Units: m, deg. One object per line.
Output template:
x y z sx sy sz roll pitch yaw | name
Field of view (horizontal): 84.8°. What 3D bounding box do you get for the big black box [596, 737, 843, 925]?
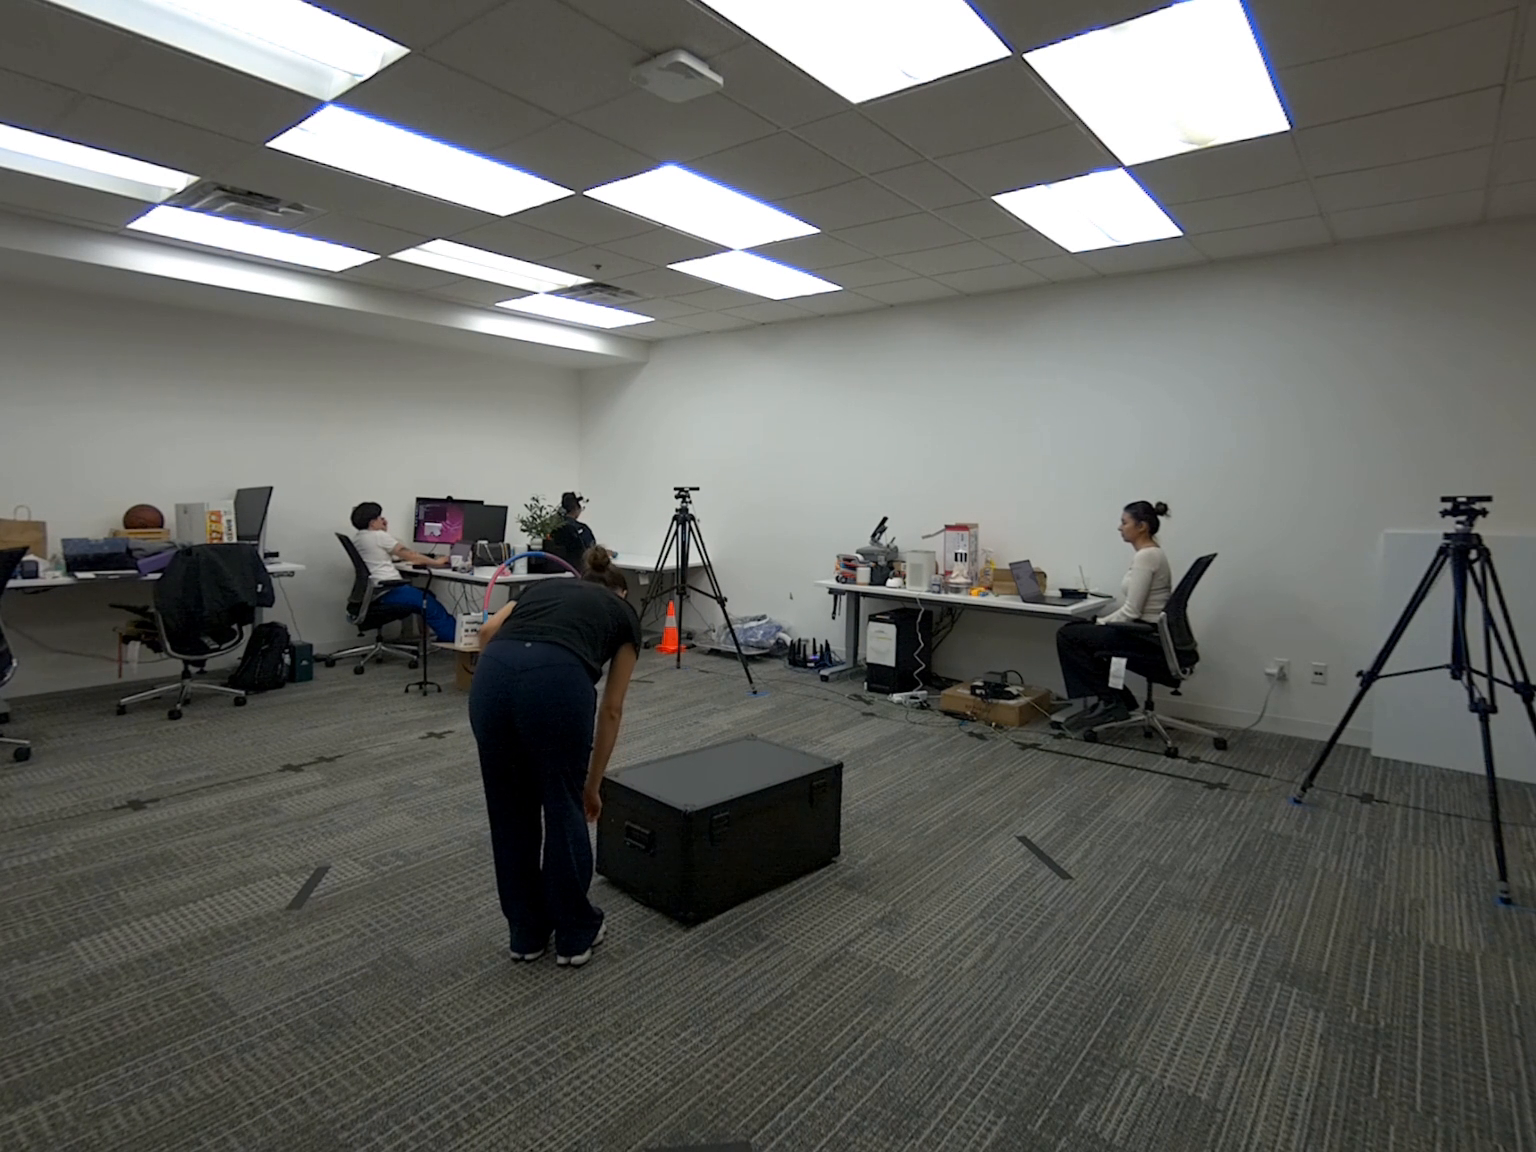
-0.169 0.880 3.084 0.835 0.395 0.539 -4 6 -44 | big black box
